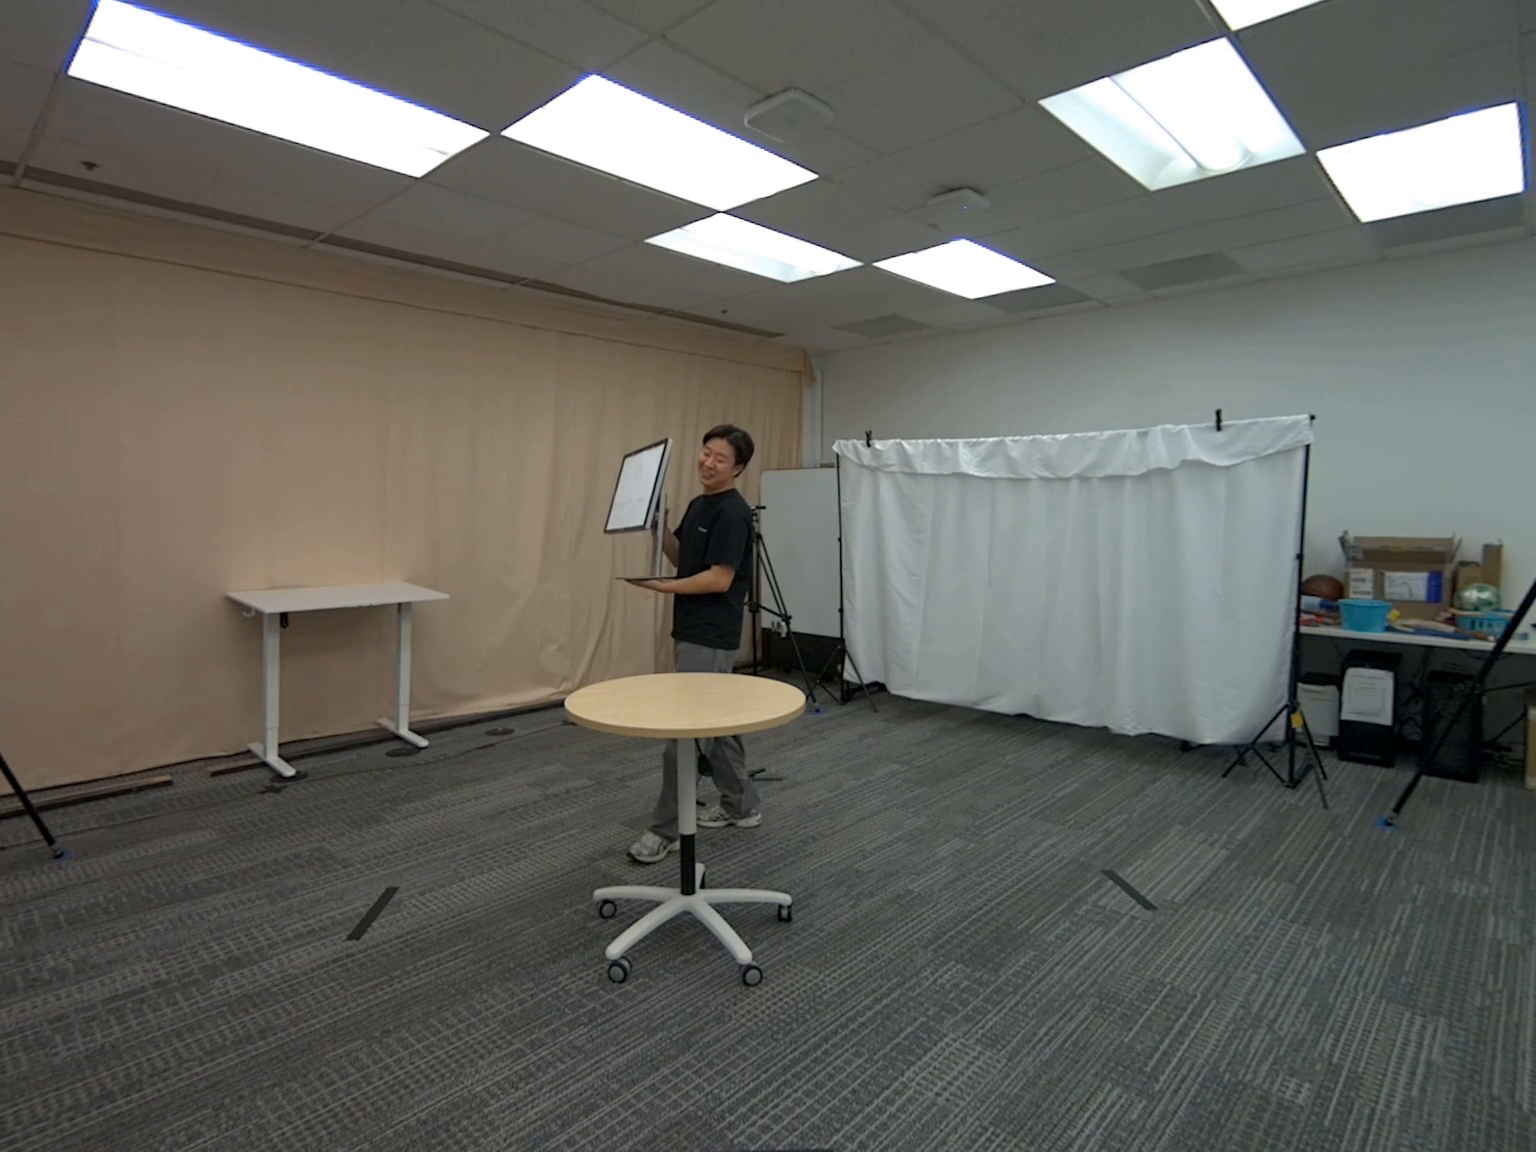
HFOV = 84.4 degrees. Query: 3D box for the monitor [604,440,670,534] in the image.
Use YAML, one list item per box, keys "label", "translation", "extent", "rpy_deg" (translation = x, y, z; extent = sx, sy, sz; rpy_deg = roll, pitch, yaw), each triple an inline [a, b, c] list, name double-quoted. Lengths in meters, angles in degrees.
- label: "monitor"
  translation: [-0.515, -0.249, 3.463]
  extent: [0.217, 0.566, 0.574]
  rpy_deg: [-1, 0, -23]
